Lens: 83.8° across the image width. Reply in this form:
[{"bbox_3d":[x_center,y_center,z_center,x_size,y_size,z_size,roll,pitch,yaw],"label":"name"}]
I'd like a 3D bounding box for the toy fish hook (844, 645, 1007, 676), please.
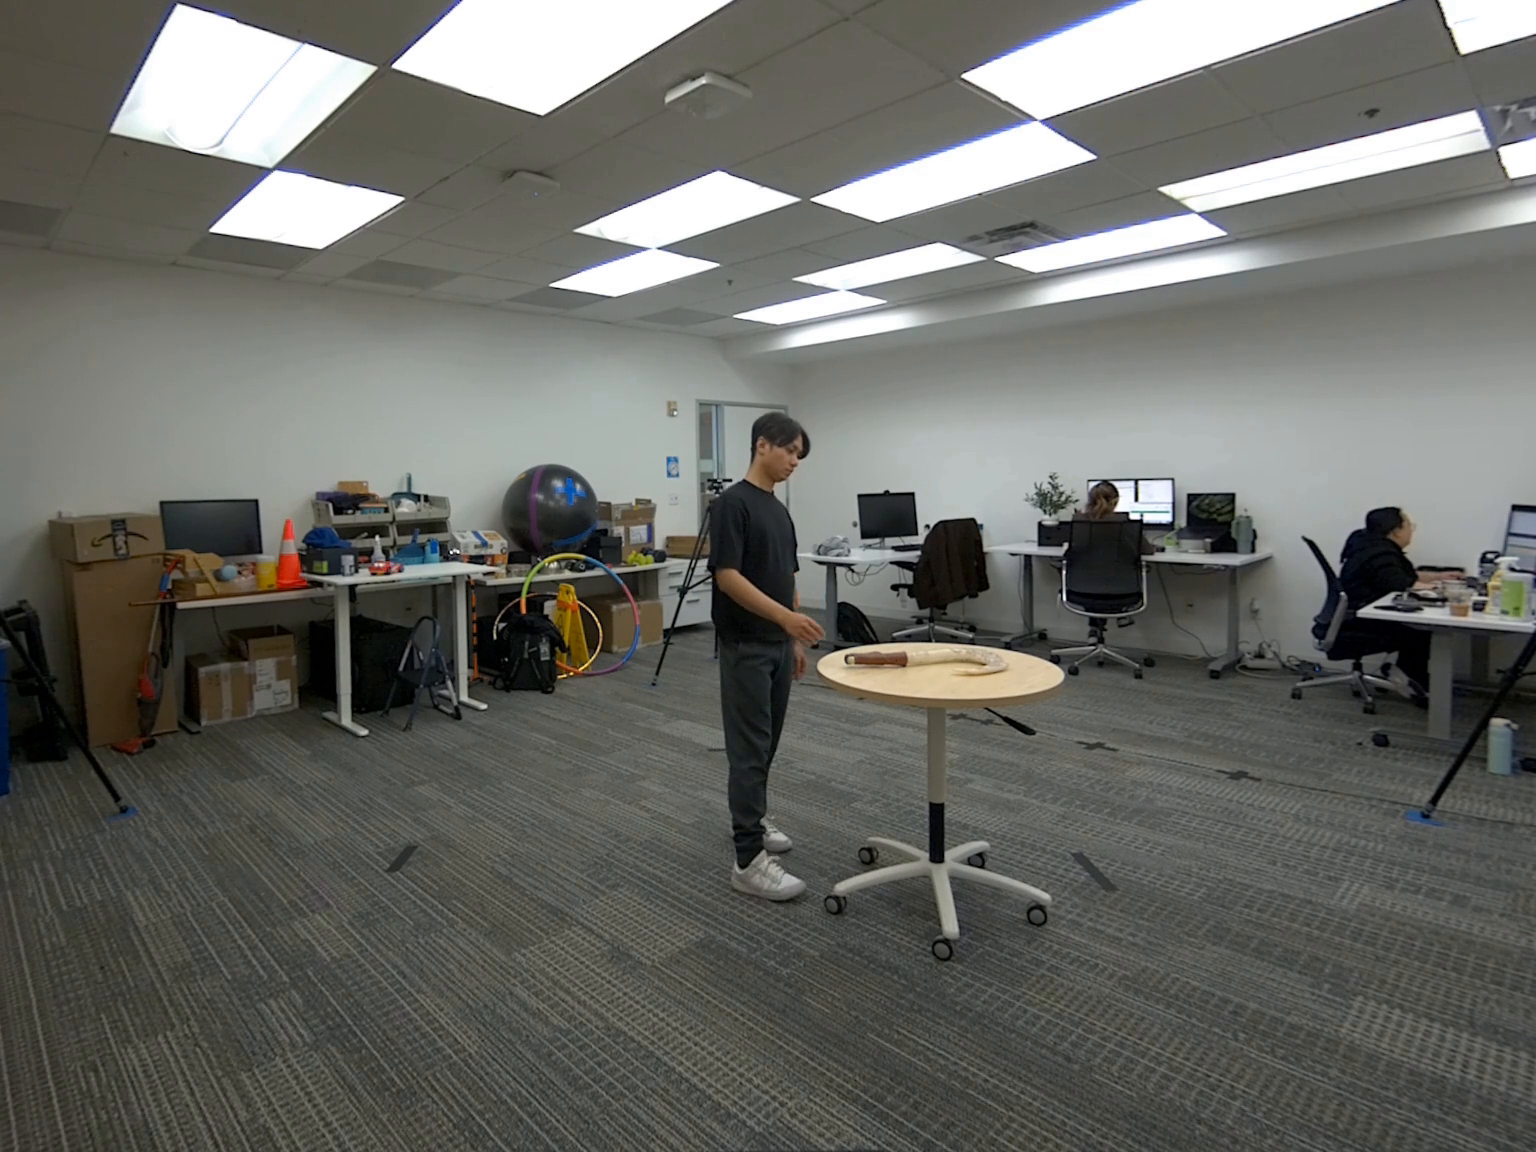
[{"bbox_3d":[0.507,0.271,2.717,0.505,0.048,0.226,0,5,-2],"label":"toy fish hook"}]
